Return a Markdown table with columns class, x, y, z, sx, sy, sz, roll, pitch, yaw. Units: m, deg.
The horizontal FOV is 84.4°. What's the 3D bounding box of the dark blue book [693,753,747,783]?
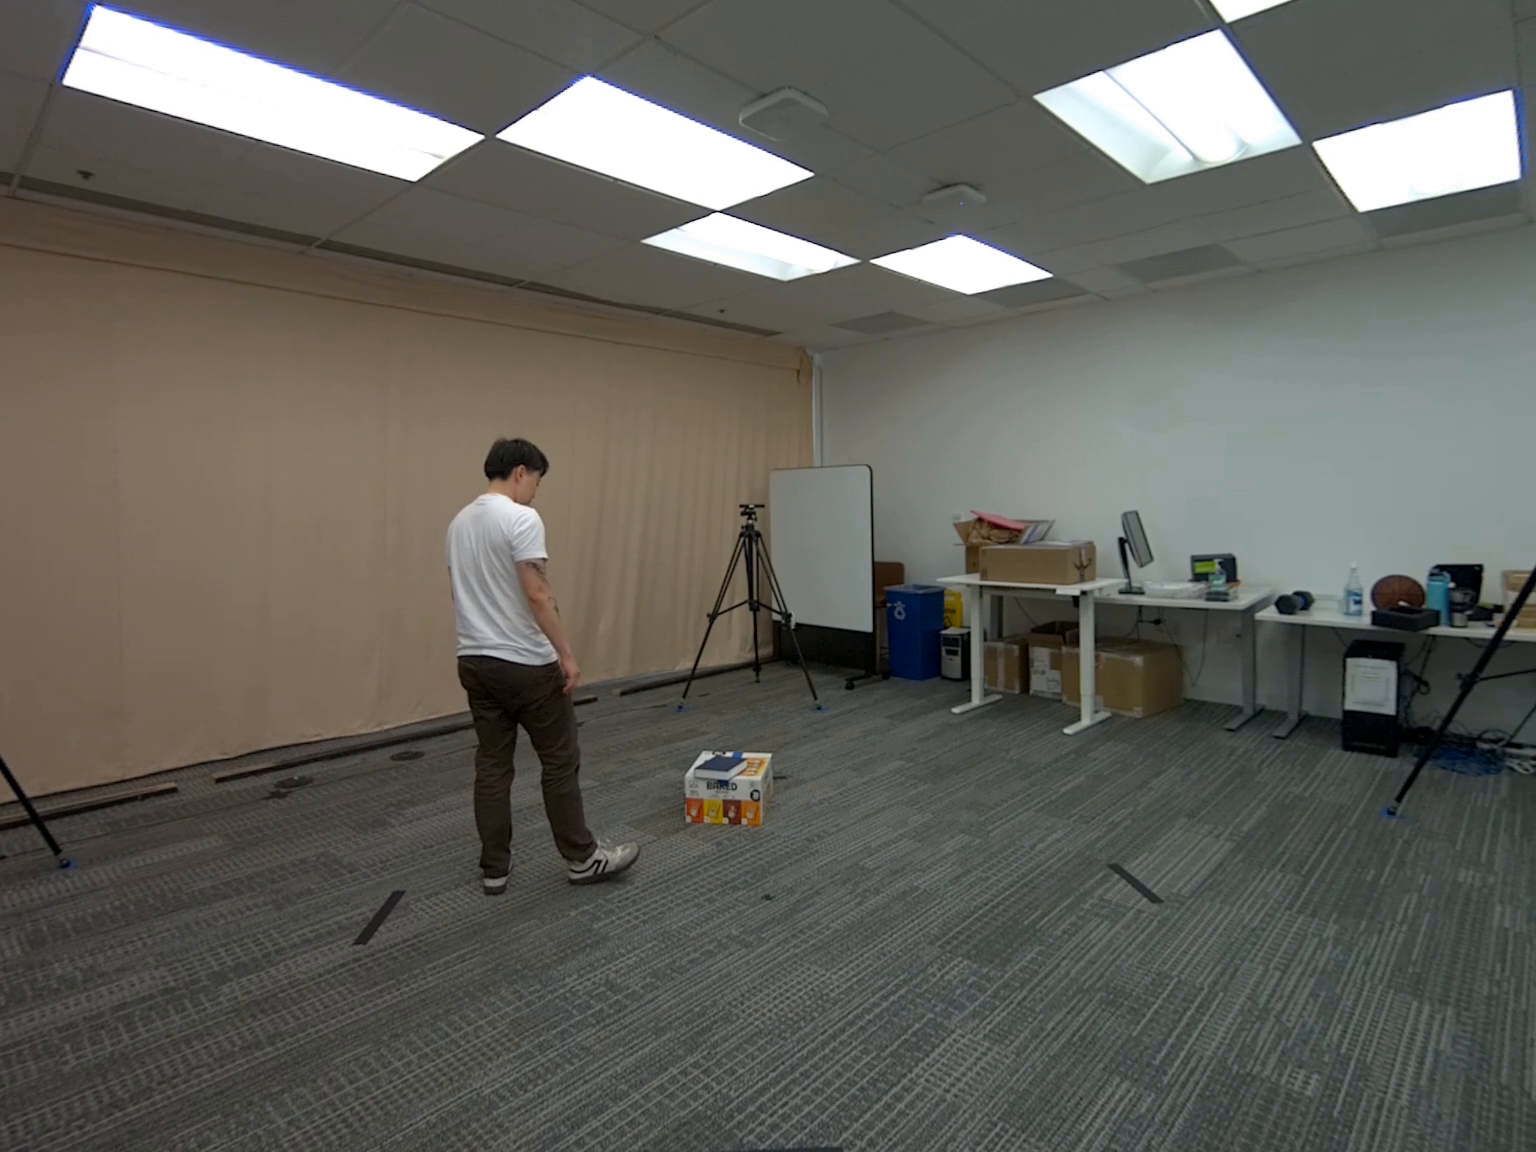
| class | x | y | z | sx | sy | sz | roll | pitch | yaw |
| --- | --- | --- | --- | --- | --- | --- | --- | --- | --- |
| dark blue book | -0.205 | 0.858 | 3.780 | 0.167 | 0.045 | 0.240 | 0 | 2 | 20 |
